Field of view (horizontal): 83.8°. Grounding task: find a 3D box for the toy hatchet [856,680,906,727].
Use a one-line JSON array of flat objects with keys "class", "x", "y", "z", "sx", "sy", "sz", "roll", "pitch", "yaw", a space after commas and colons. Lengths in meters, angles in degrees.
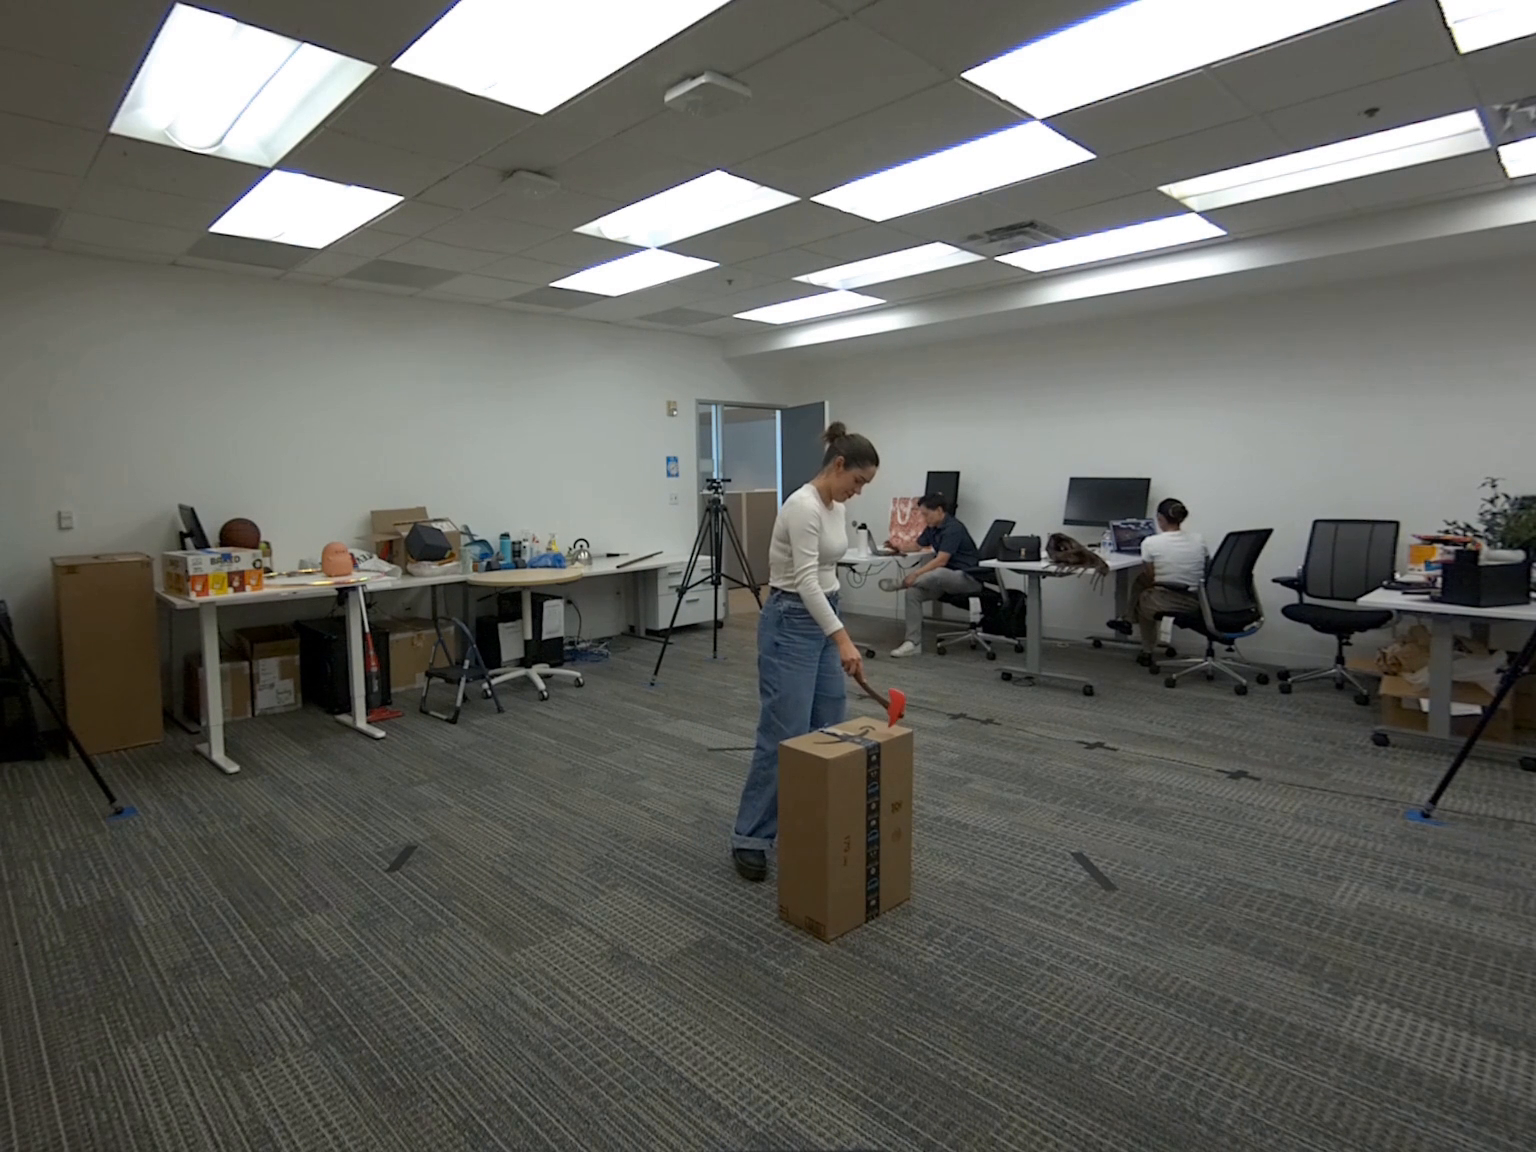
[{"class": "toy hatchet", "x": 0.360, "y": 0.360, "z": 2.814, "sx": 0.029, "sy": 0.279, "sz": 0.130, "roll": -4, "pitch": -40, "yaw": -40}]
